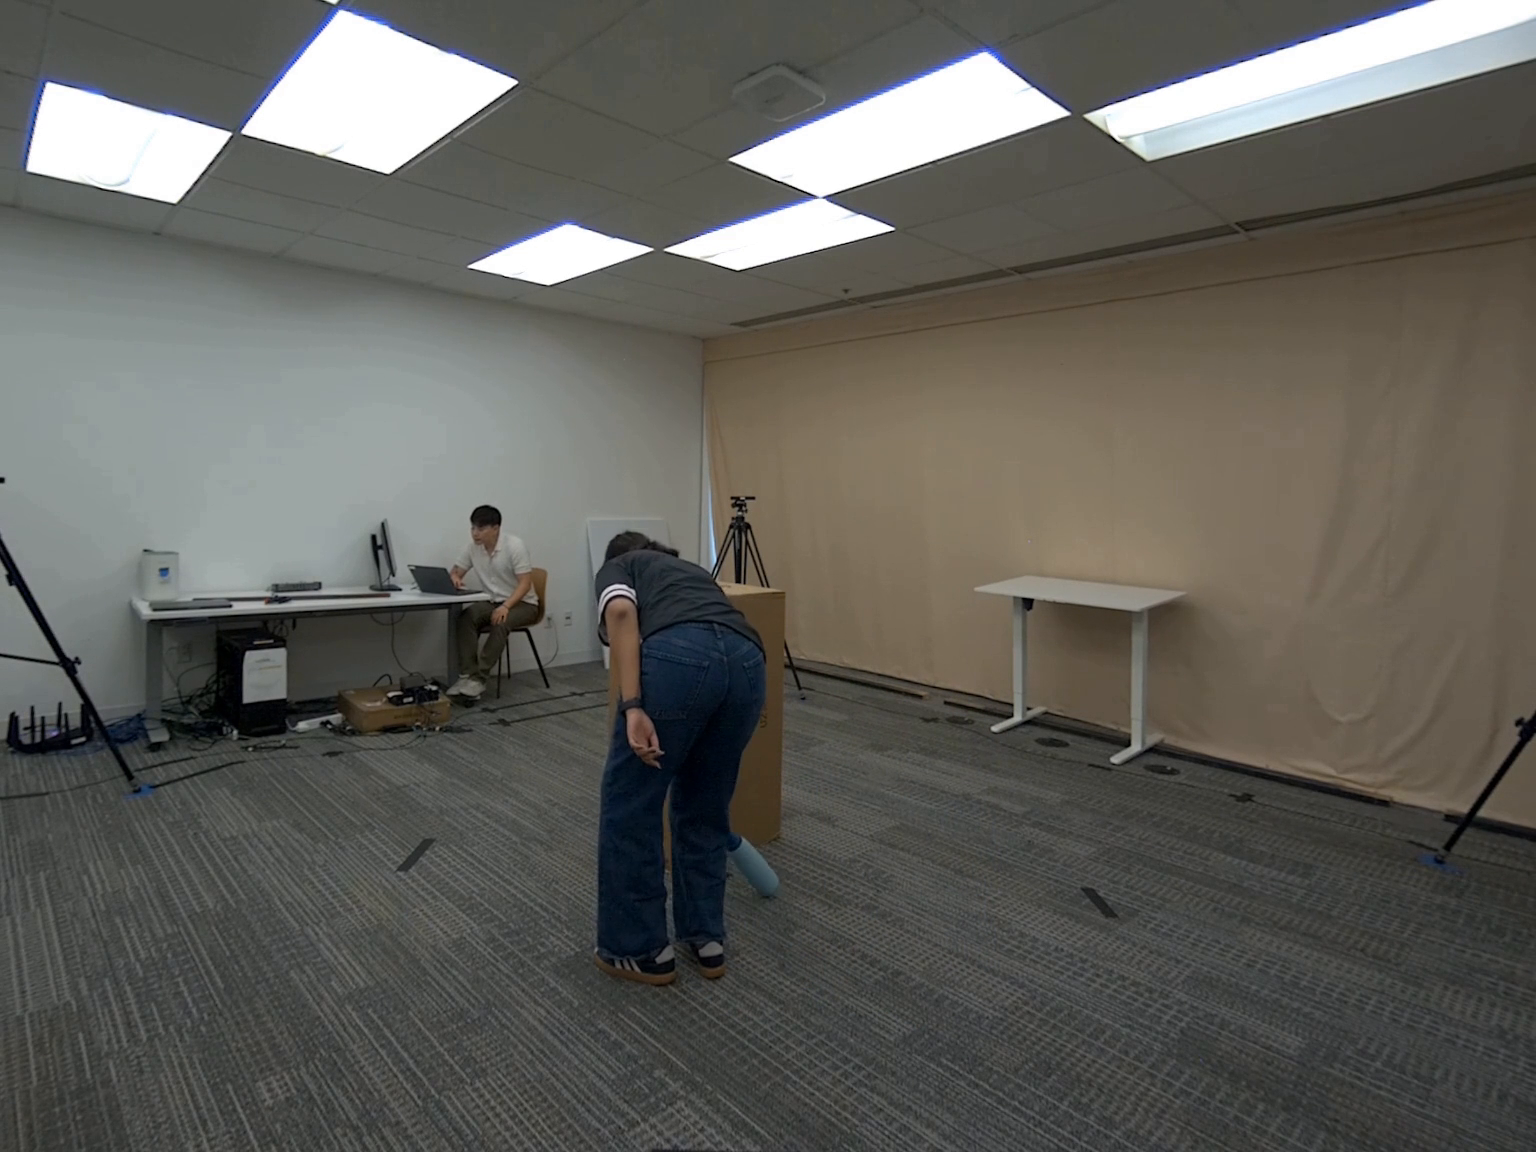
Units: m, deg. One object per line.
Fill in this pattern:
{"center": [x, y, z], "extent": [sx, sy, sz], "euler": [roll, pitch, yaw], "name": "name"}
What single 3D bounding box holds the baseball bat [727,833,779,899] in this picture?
{"center": [-0.140, 0.891, 2.853], "extent": [0.089, 0.531, 0.091], "euler": [-28, 24, 13], "name": "baseball bat"}
